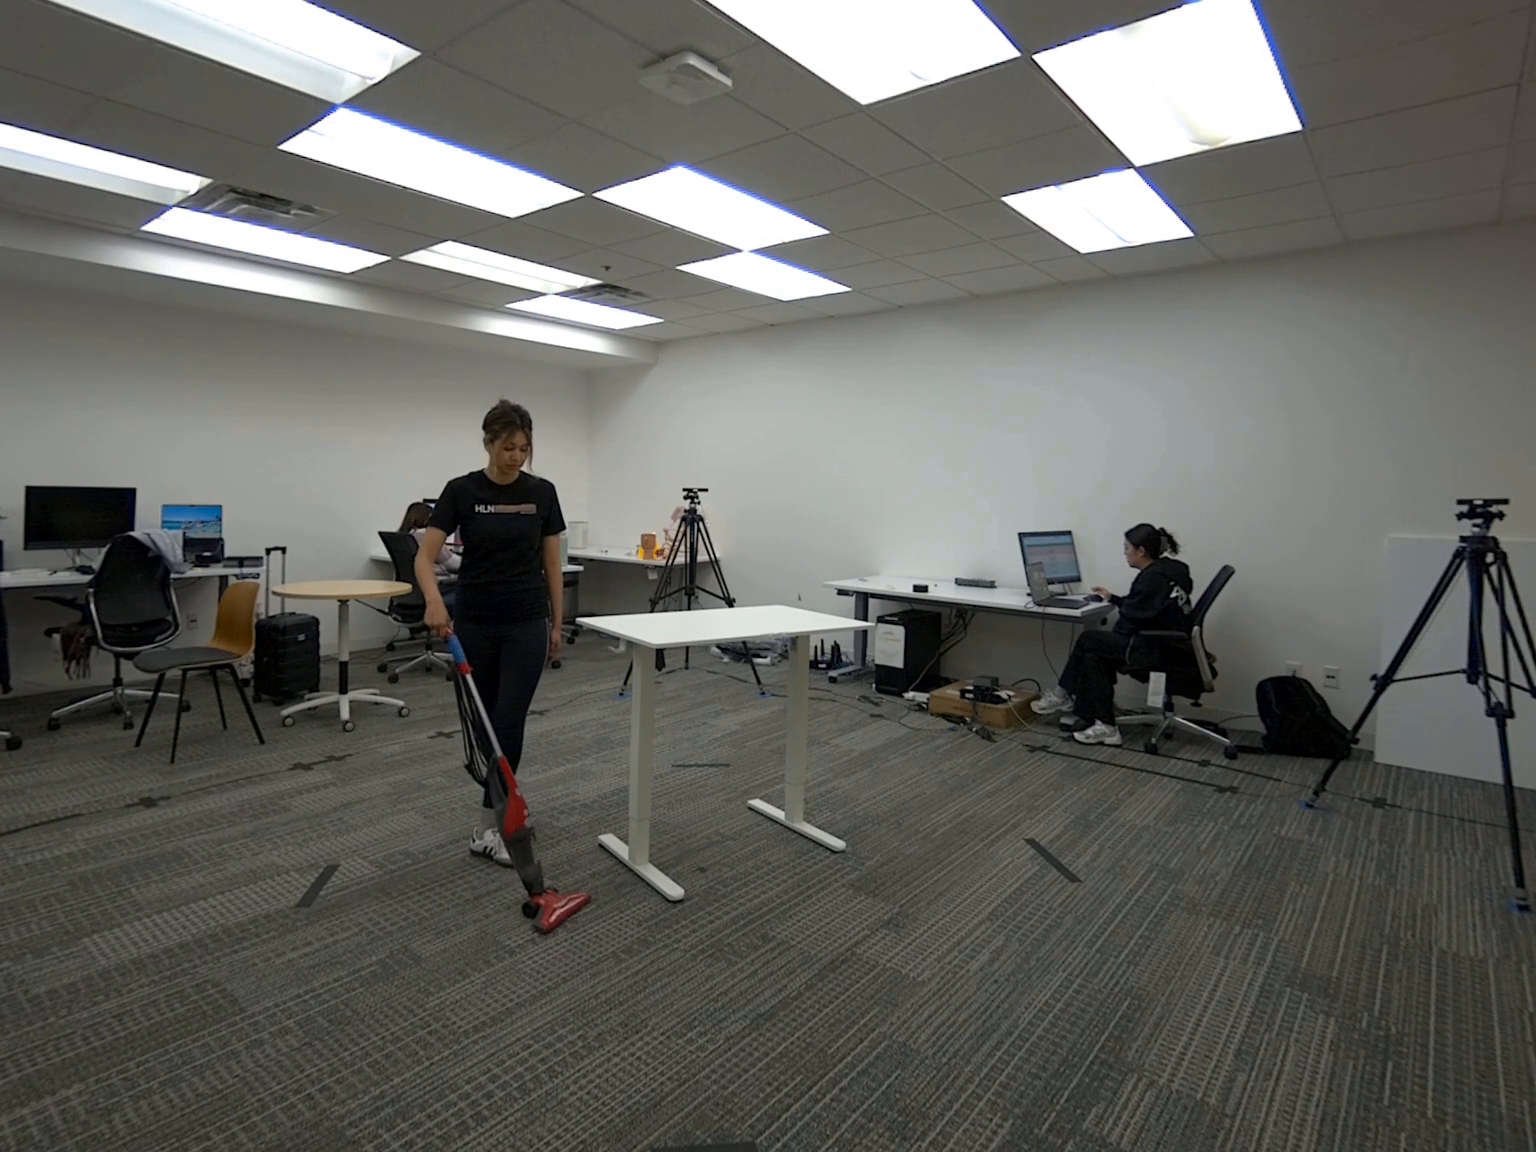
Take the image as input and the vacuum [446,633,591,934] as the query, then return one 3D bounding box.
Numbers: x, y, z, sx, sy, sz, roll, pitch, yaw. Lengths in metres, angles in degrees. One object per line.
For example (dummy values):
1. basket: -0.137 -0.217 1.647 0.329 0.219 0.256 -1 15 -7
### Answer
1. vacuum: -0.933 0.625 2.849 0.145 1.063 0.247 -30 -10 24
